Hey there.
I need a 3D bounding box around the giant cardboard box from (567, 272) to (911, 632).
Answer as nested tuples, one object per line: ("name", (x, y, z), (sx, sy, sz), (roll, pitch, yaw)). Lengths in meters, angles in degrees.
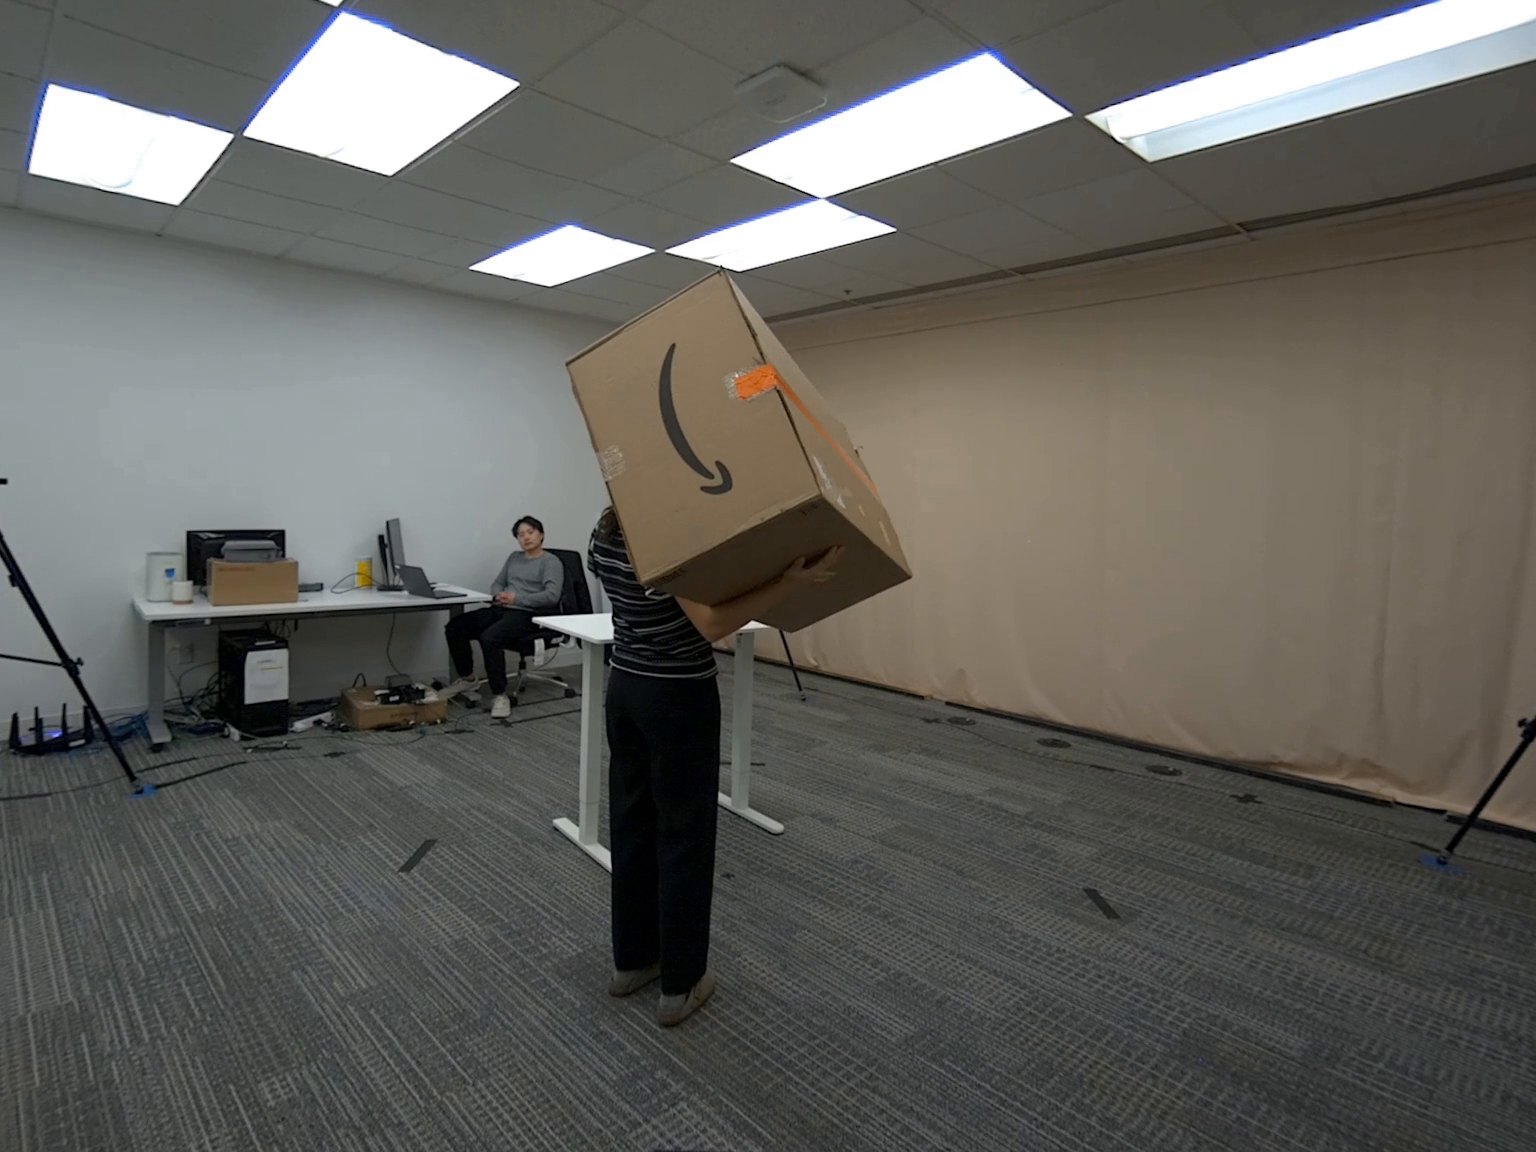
("giant cardboard box", (-0.014, -0.238, 2.232), (0.428, 0.588, 1.002), (-26, -18, 14))
